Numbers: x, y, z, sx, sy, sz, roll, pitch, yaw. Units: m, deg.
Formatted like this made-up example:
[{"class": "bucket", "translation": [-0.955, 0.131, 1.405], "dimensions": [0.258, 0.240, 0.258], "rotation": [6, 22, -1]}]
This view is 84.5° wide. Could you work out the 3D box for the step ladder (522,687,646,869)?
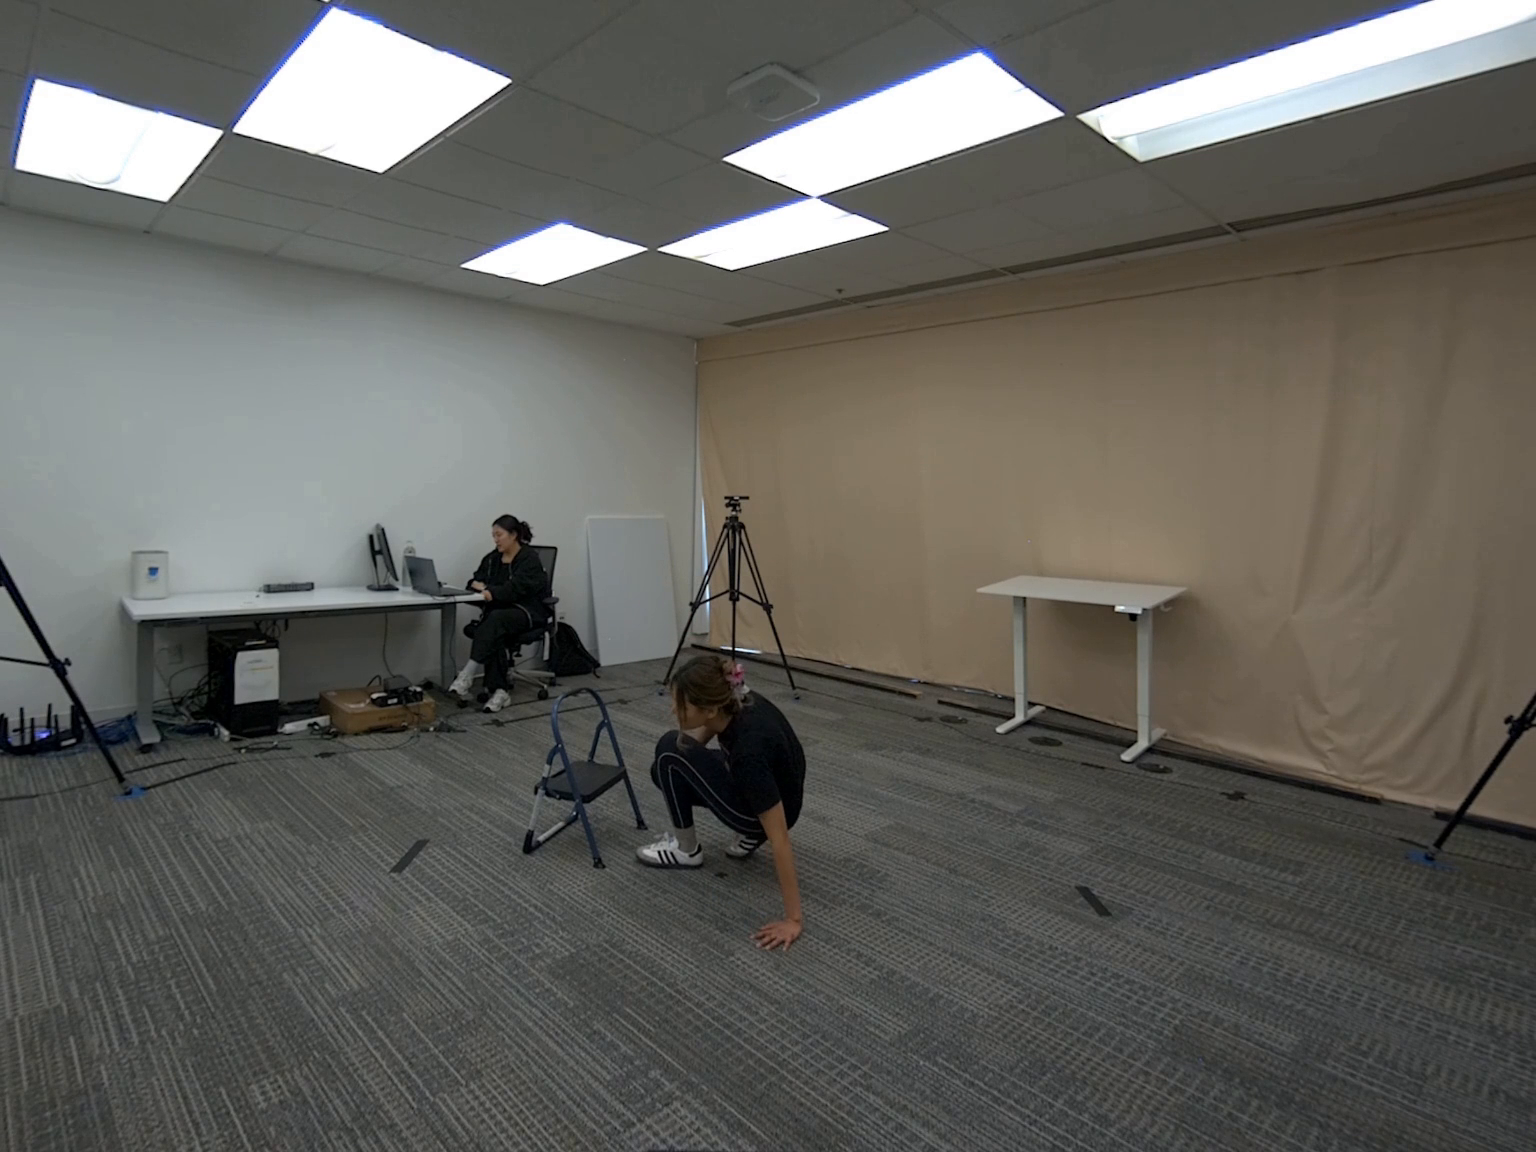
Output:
[{"class": "step ladder", "translation": [-0.723, 0.761, 3.374], "dimensions": [0.354, 0.604, 0.426], "rotation": [3, 4, 16]}]
